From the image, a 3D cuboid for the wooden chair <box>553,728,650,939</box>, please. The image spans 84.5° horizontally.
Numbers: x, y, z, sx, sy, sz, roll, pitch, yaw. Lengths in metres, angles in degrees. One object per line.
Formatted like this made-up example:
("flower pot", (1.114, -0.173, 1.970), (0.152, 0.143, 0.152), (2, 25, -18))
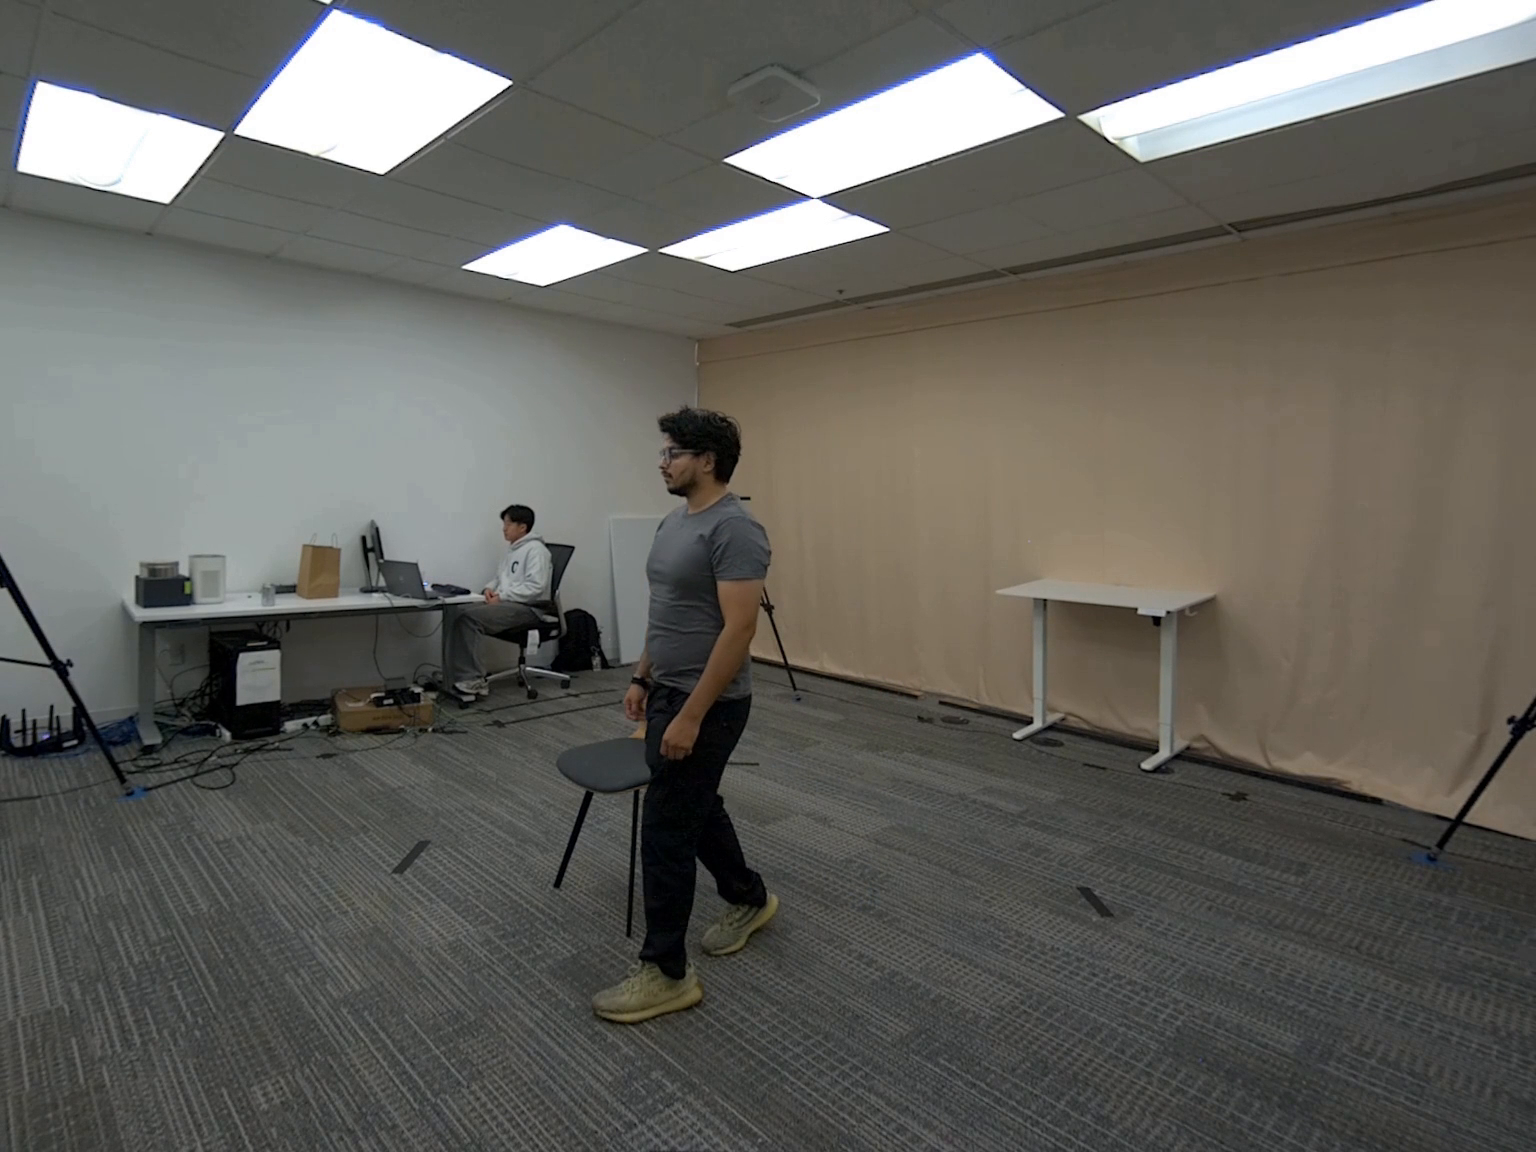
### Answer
("wooden chair", (-0.443, 0.690, 2.931), (0.510, 0.877, 0.490), (4, 1, -44))
